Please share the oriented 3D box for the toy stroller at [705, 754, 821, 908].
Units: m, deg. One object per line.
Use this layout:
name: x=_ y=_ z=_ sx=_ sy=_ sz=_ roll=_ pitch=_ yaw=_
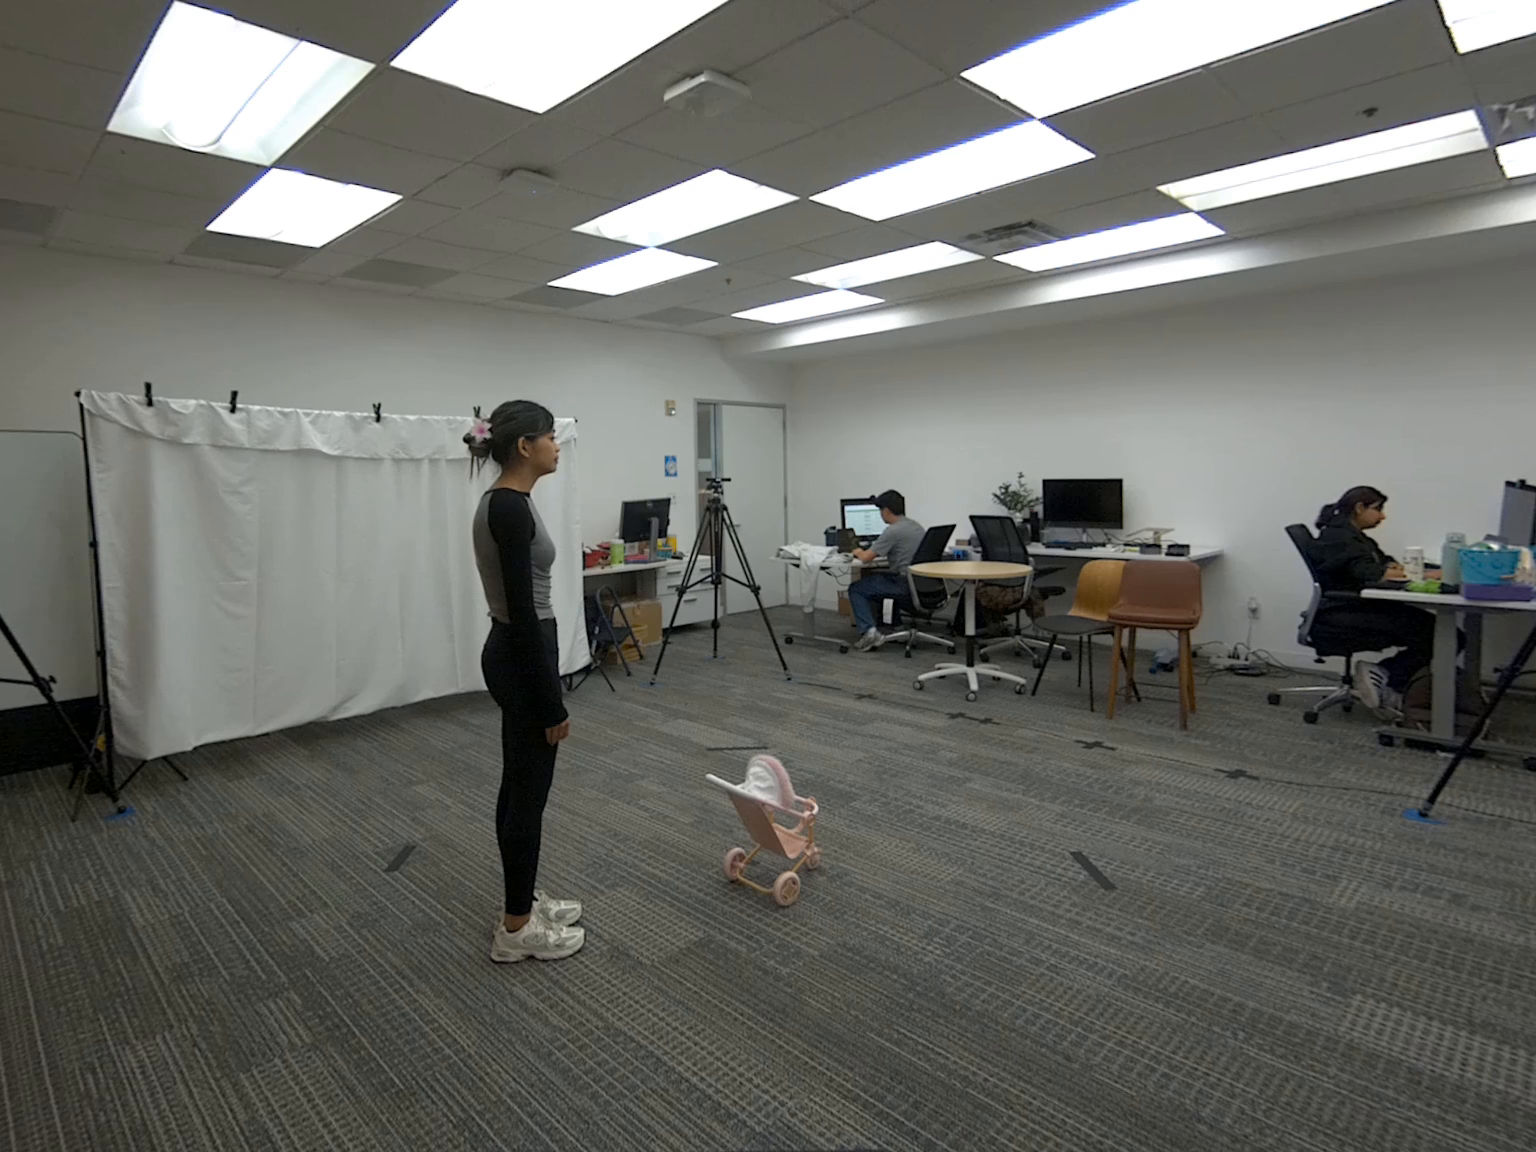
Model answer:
toy stroller: x=0.021 y=0.841 z=2.912 sx=0.336 sy=0.526 sz=0.290 roll=-25 pitch=18 yaw=-35
